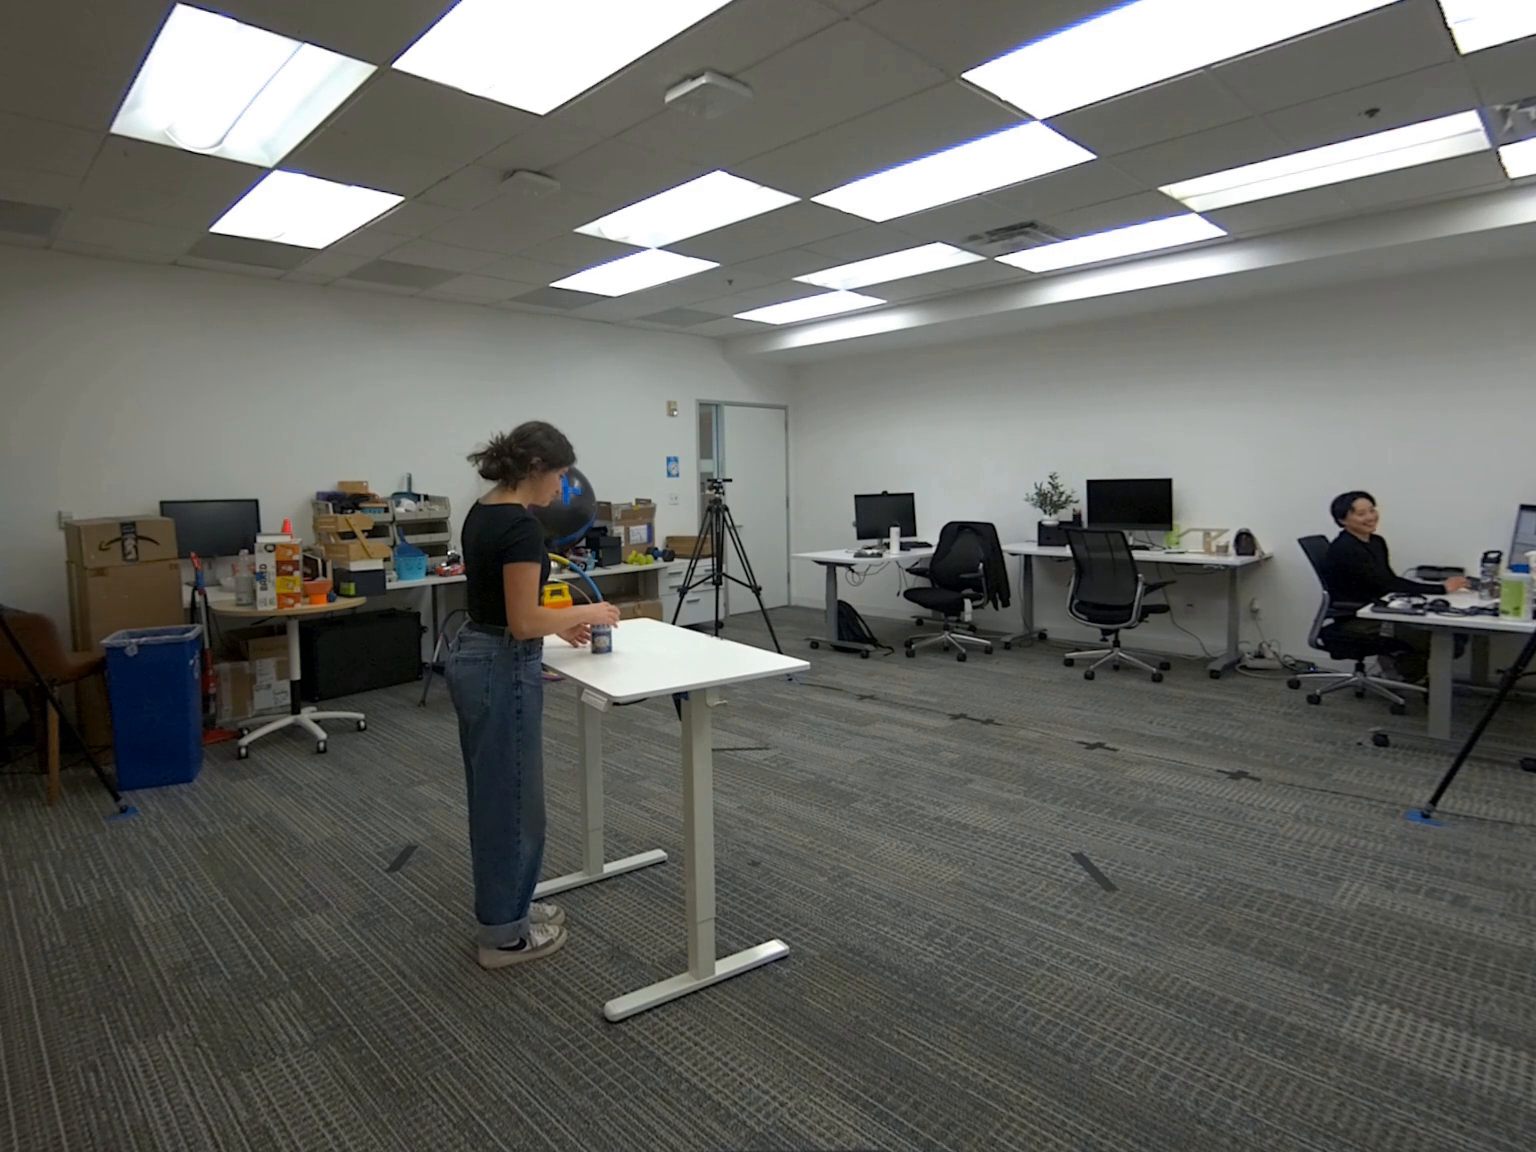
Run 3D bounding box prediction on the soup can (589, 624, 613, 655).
[{"bbox_3d":[-0.505,0.176,2.589,0.067,0.121,0.067,-2,7,-1],"label":"soup can"}]
